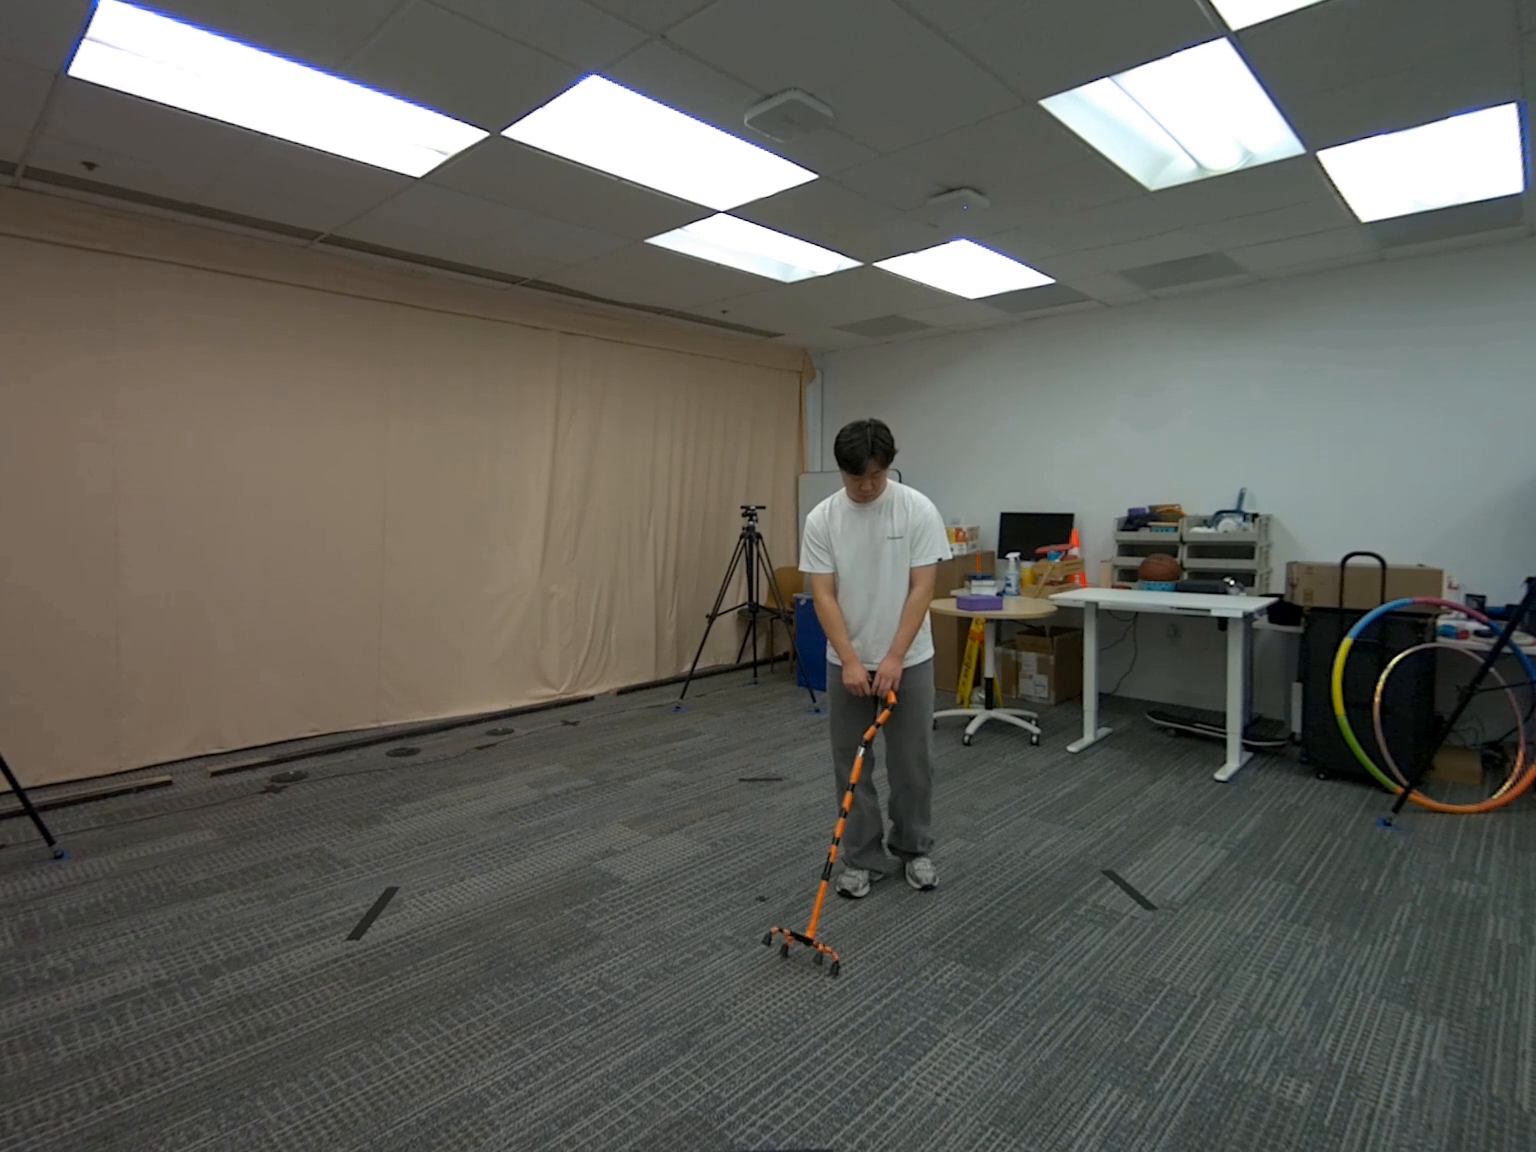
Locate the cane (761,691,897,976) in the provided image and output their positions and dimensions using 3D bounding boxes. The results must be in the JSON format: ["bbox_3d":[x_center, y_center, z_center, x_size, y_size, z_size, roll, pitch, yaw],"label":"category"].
[{"bbox_3d":[0.248,0.763,2.687,0.213,0.911,0.146,4,-30,33],"label":"cane"}]
